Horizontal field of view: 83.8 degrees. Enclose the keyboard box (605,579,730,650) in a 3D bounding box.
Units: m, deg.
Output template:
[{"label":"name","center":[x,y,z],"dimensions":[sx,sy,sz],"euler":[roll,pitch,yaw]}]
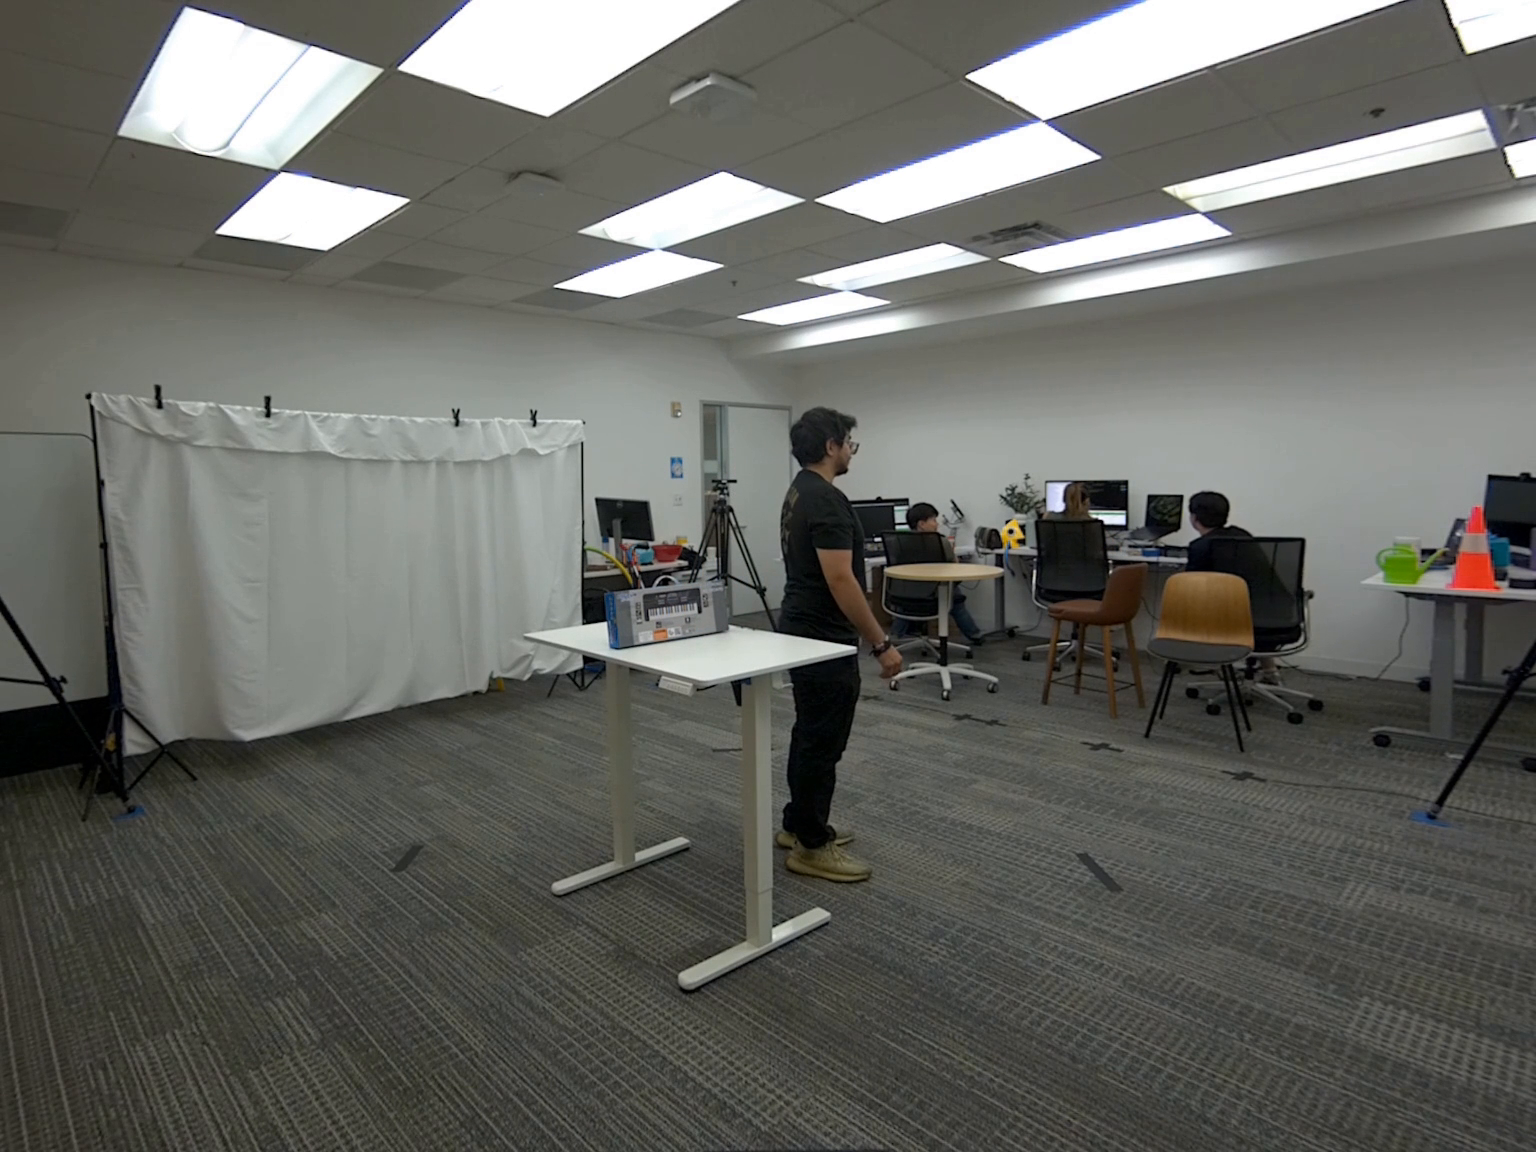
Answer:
[{"label":"keyboard box","center":[-0.322,0.122,2.779],"dimensions":[0.426,0.176,0.060],"euler":[-6,-1,-40]}]
